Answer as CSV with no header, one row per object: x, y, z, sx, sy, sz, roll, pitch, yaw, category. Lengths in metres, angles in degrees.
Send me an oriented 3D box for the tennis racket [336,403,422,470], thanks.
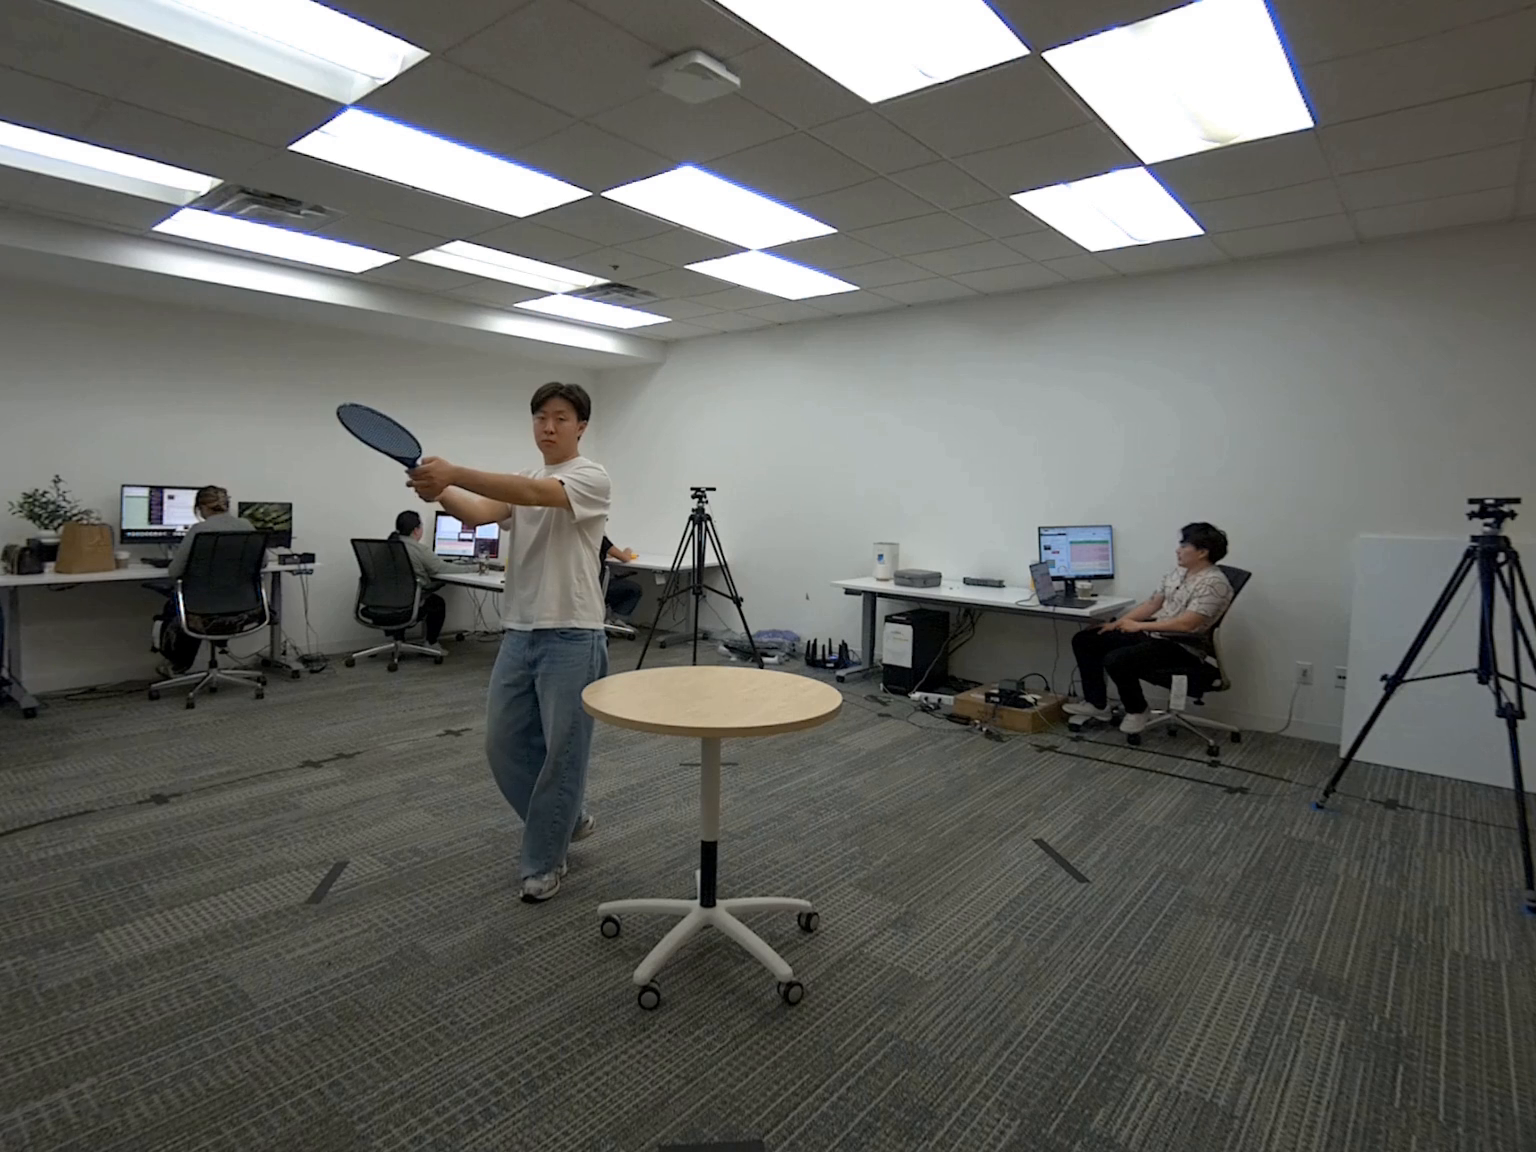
-1.051,-0.338,2.353,0.217,0.032,0.420,11,-21,12,tennis racket
